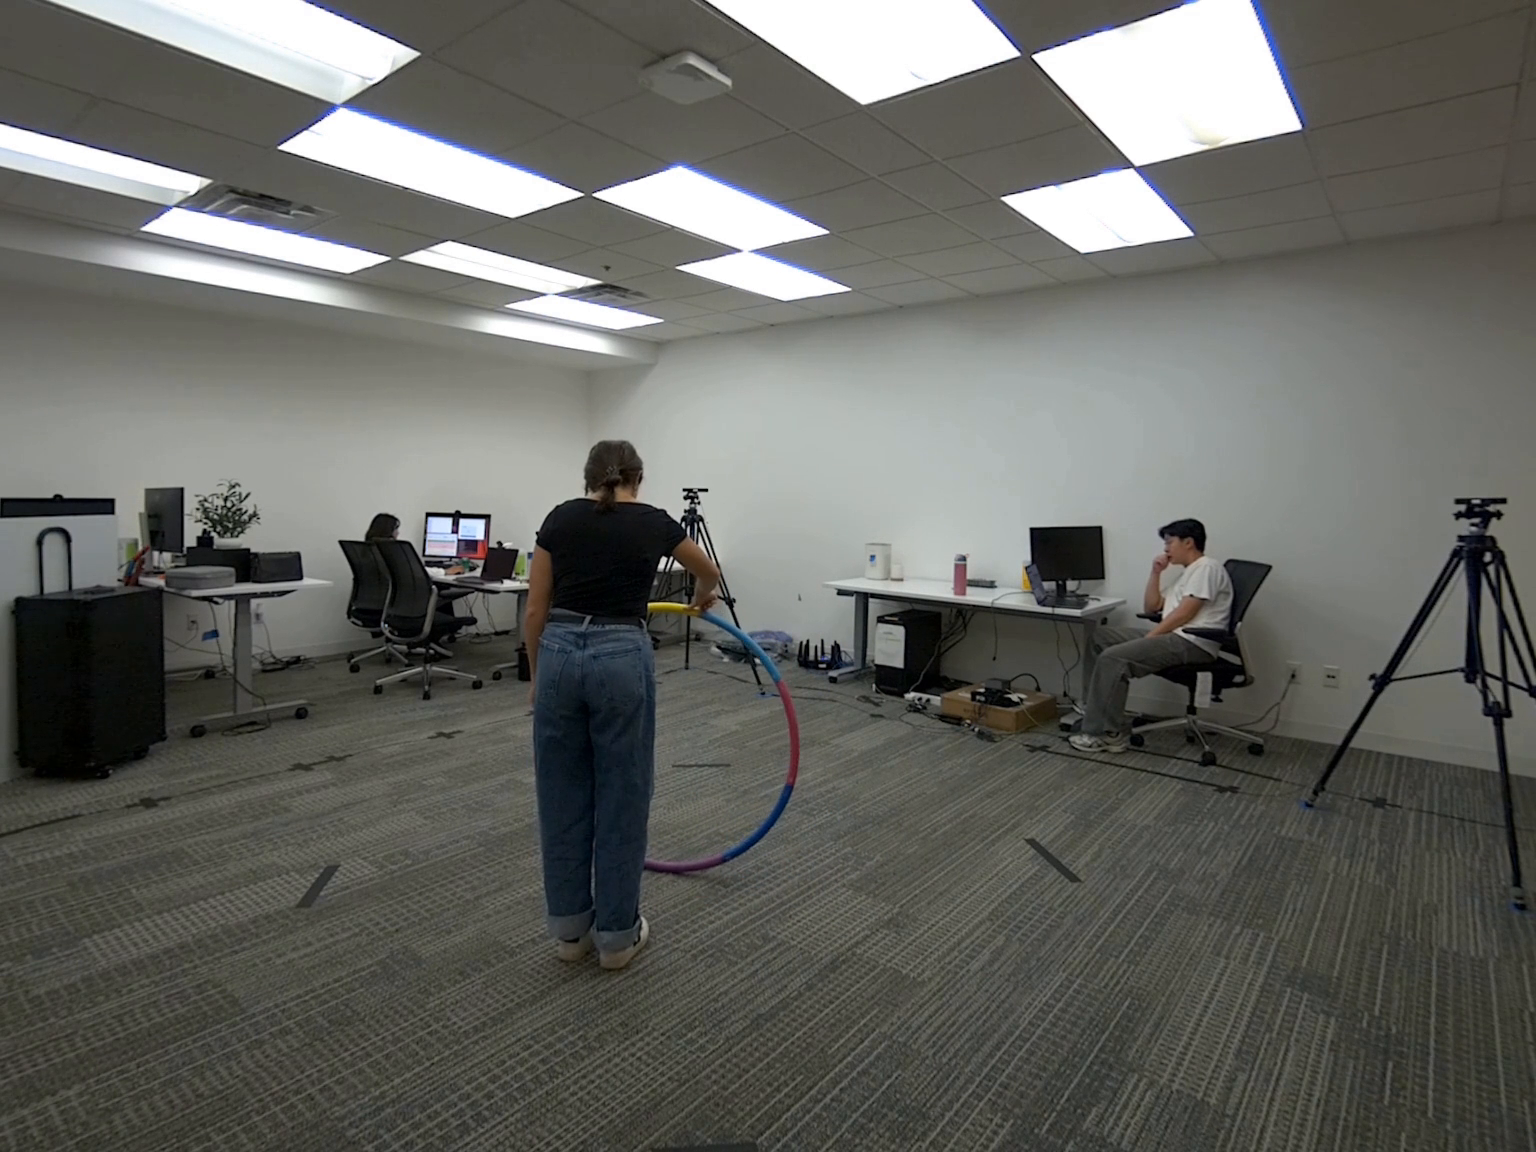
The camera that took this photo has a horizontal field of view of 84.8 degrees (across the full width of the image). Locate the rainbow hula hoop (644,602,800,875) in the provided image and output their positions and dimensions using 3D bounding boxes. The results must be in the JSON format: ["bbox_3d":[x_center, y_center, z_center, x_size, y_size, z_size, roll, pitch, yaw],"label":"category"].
[{"bbox_3d":[-0.372,0.584,3.092,0.996,0.979,0.035,2,-1,16],"label":"rainbow hula hoop"}]
